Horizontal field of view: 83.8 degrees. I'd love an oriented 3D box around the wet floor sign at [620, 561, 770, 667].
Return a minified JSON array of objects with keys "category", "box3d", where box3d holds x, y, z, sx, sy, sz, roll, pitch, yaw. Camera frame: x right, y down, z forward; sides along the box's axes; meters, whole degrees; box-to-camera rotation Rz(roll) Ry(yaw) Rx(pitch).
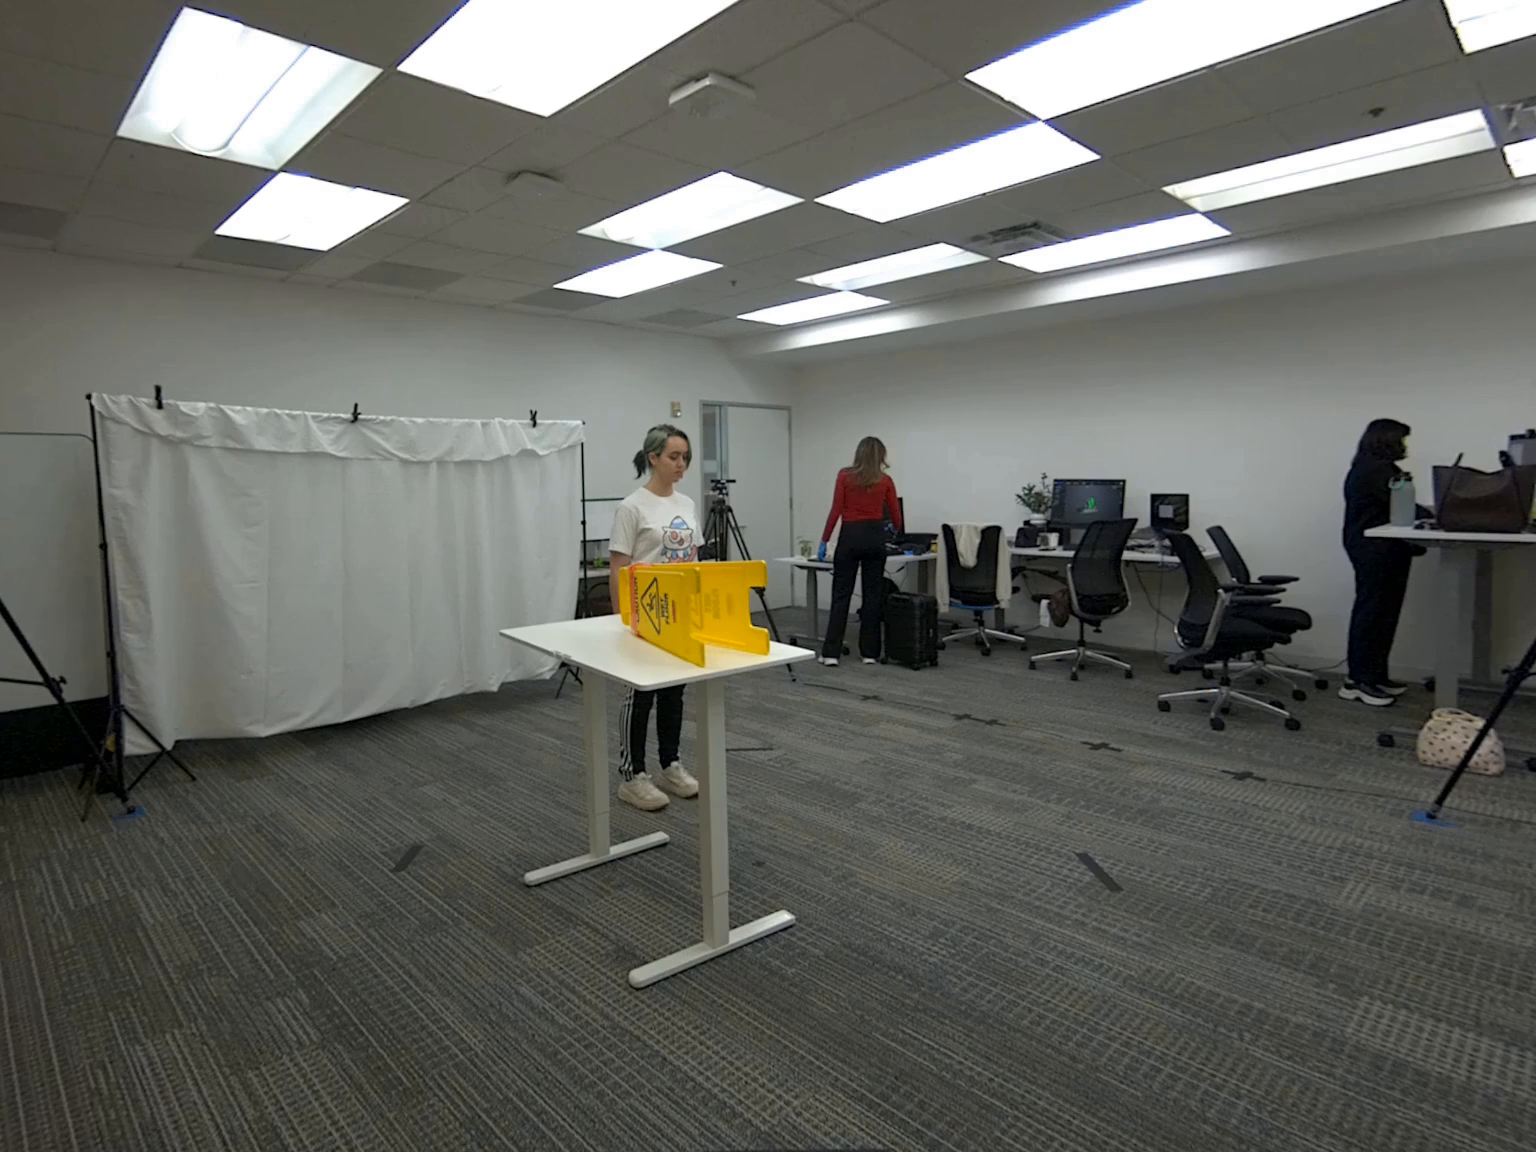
[{"category":"wet floor sign","box3d":[-0.302,0.092,2.700,0.282,0.281,0.665,-5,6,-38]}]
